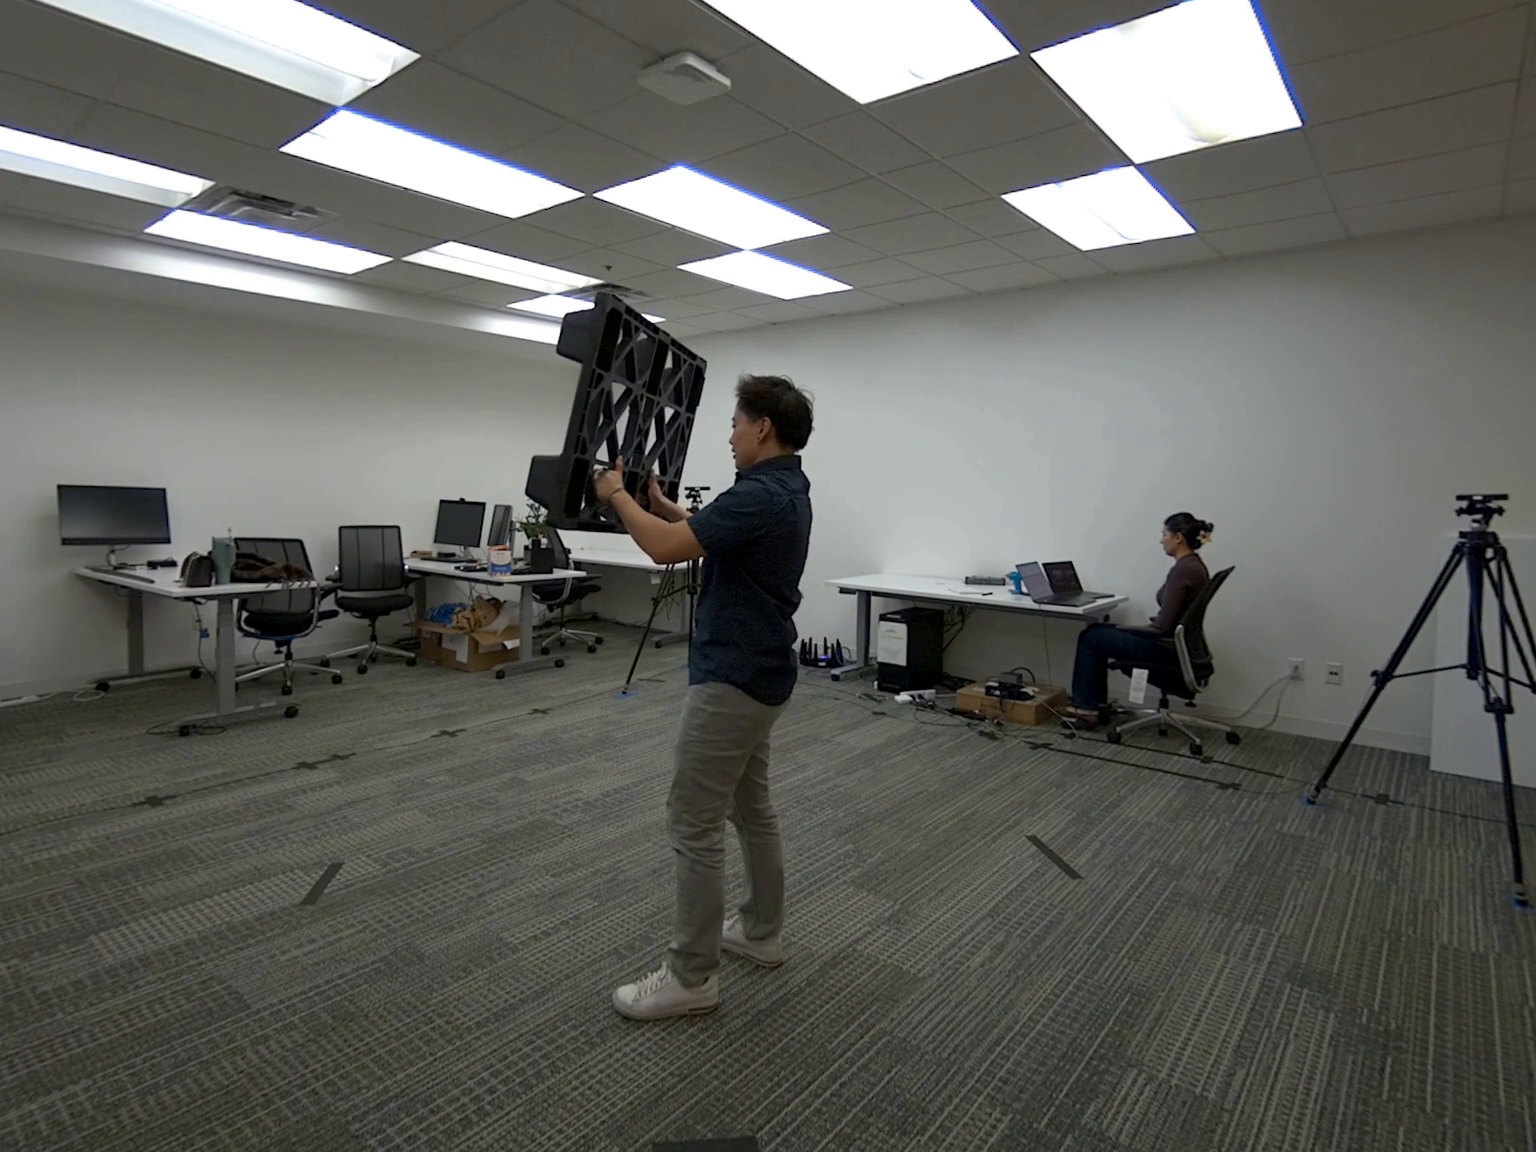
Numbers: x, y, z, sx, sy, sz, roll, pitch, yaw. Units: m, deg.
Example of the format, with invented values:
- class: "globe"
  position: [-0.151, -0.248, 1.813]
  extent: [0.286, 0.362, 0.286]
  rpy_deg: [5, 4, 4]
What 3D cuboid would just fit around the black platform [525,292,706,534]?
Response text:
- class: "black platform"
  position: [-0.425, -0.433, 2.476]
  extent: [0.146, 0.604, 0.793]
  rpy_deg: [12, 3, 13]
